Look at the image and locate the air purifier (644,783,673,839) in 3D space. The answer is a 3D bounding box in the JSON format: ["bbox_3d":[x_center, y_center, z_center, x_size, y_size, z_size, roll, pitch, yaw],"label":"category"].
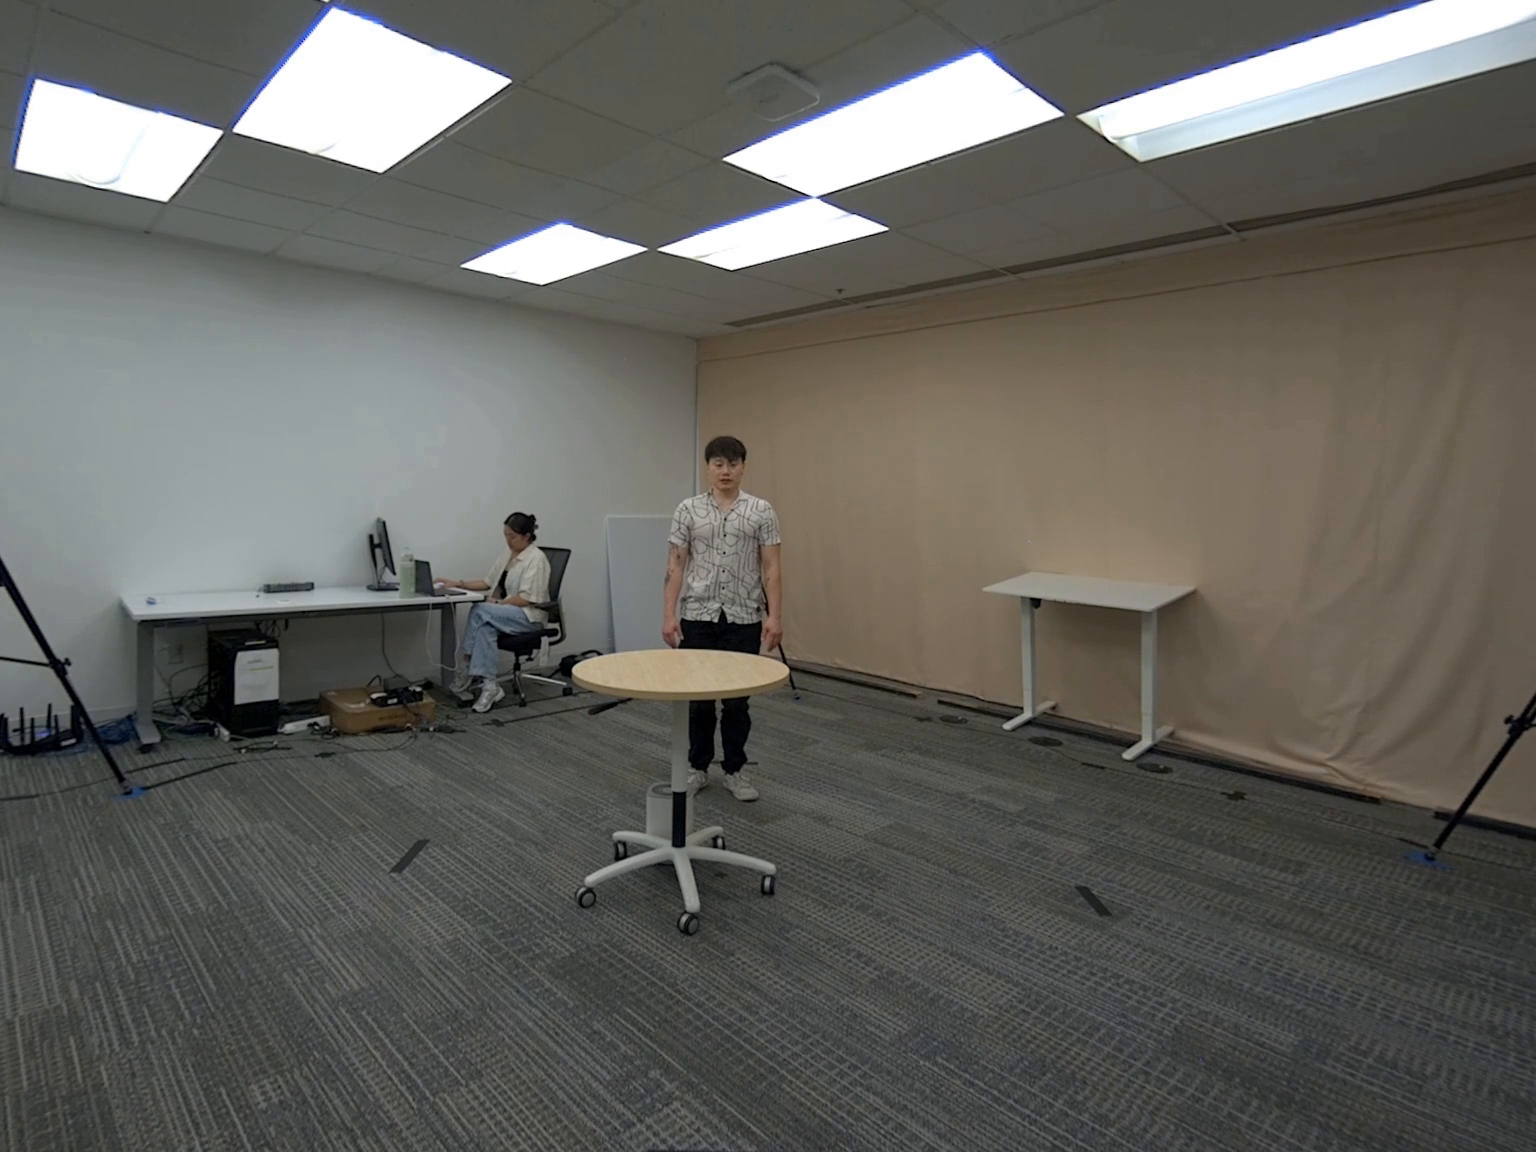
[{"bbox_3d":[-0.393,0.955,3.242,0.171,0.264,0.172,3,4,1],"label":"air purifier"}]
